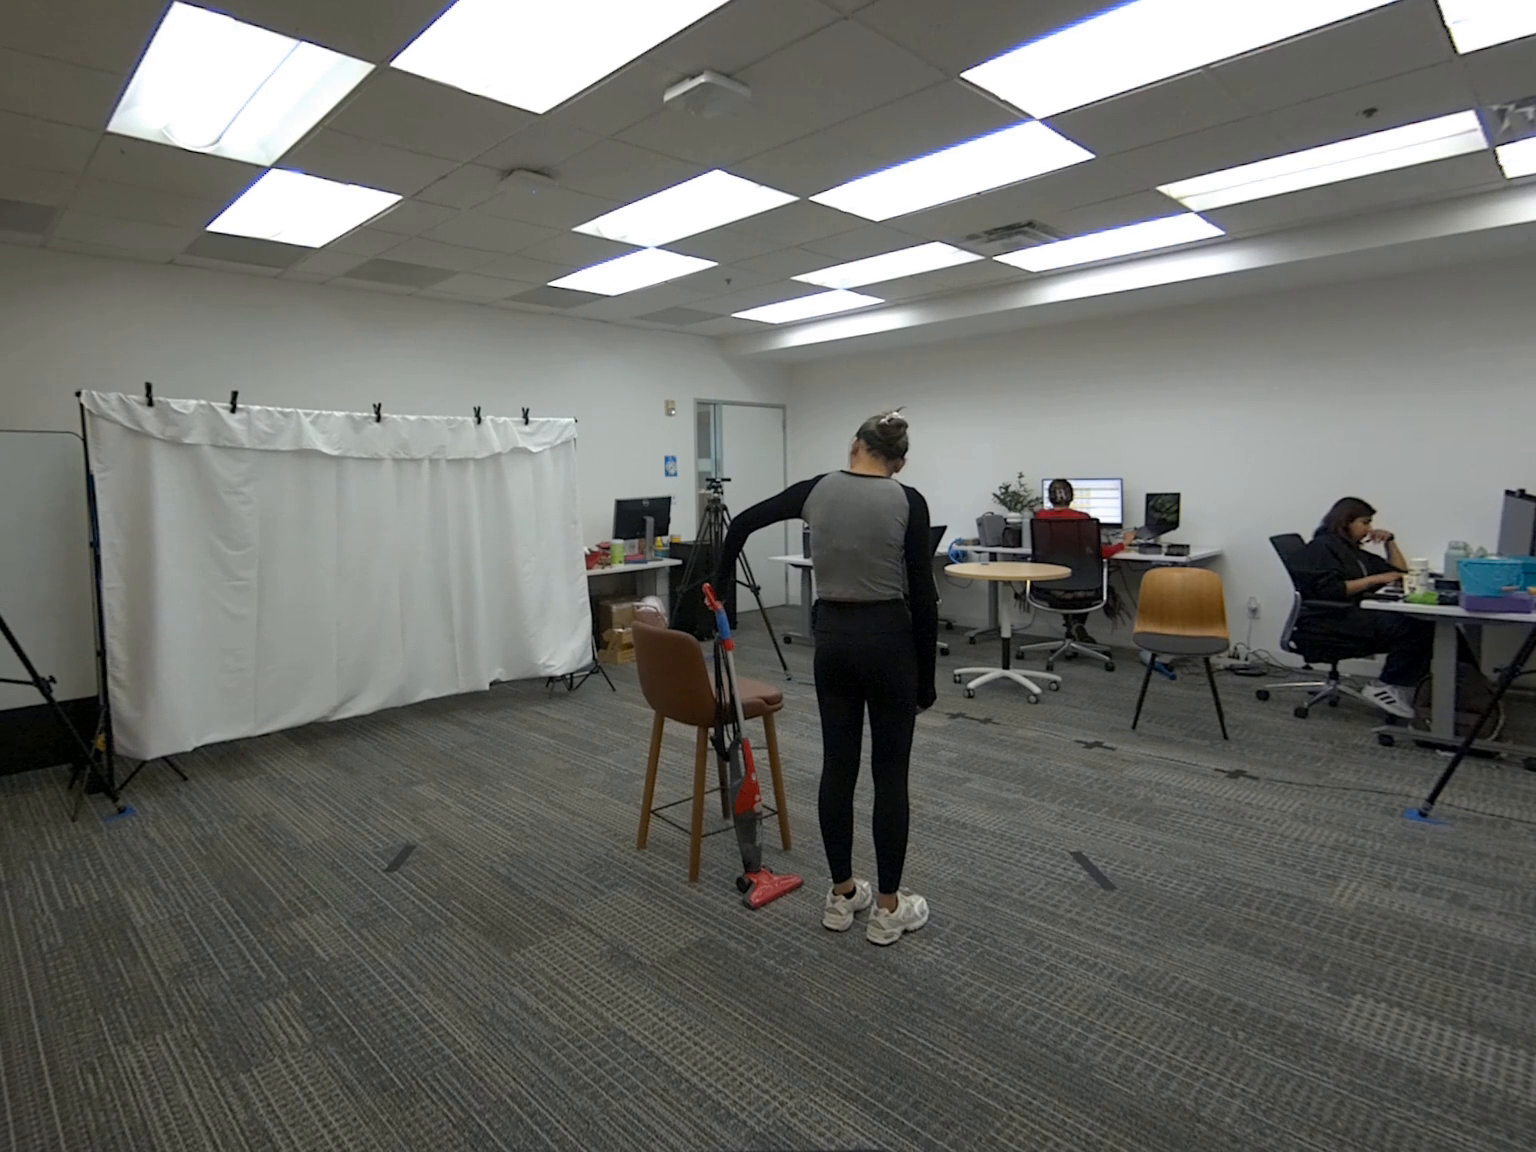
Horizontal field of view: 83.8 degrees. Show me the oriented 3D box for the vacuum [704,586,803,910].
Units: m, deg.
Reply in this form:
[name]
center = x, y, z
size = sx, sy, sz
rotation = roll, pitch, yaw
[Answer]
[vacuum]
center = -0.109, 0.552, 2.949
size = 0.246, 1.057, 0.146
rotation = -5, -8, -34
